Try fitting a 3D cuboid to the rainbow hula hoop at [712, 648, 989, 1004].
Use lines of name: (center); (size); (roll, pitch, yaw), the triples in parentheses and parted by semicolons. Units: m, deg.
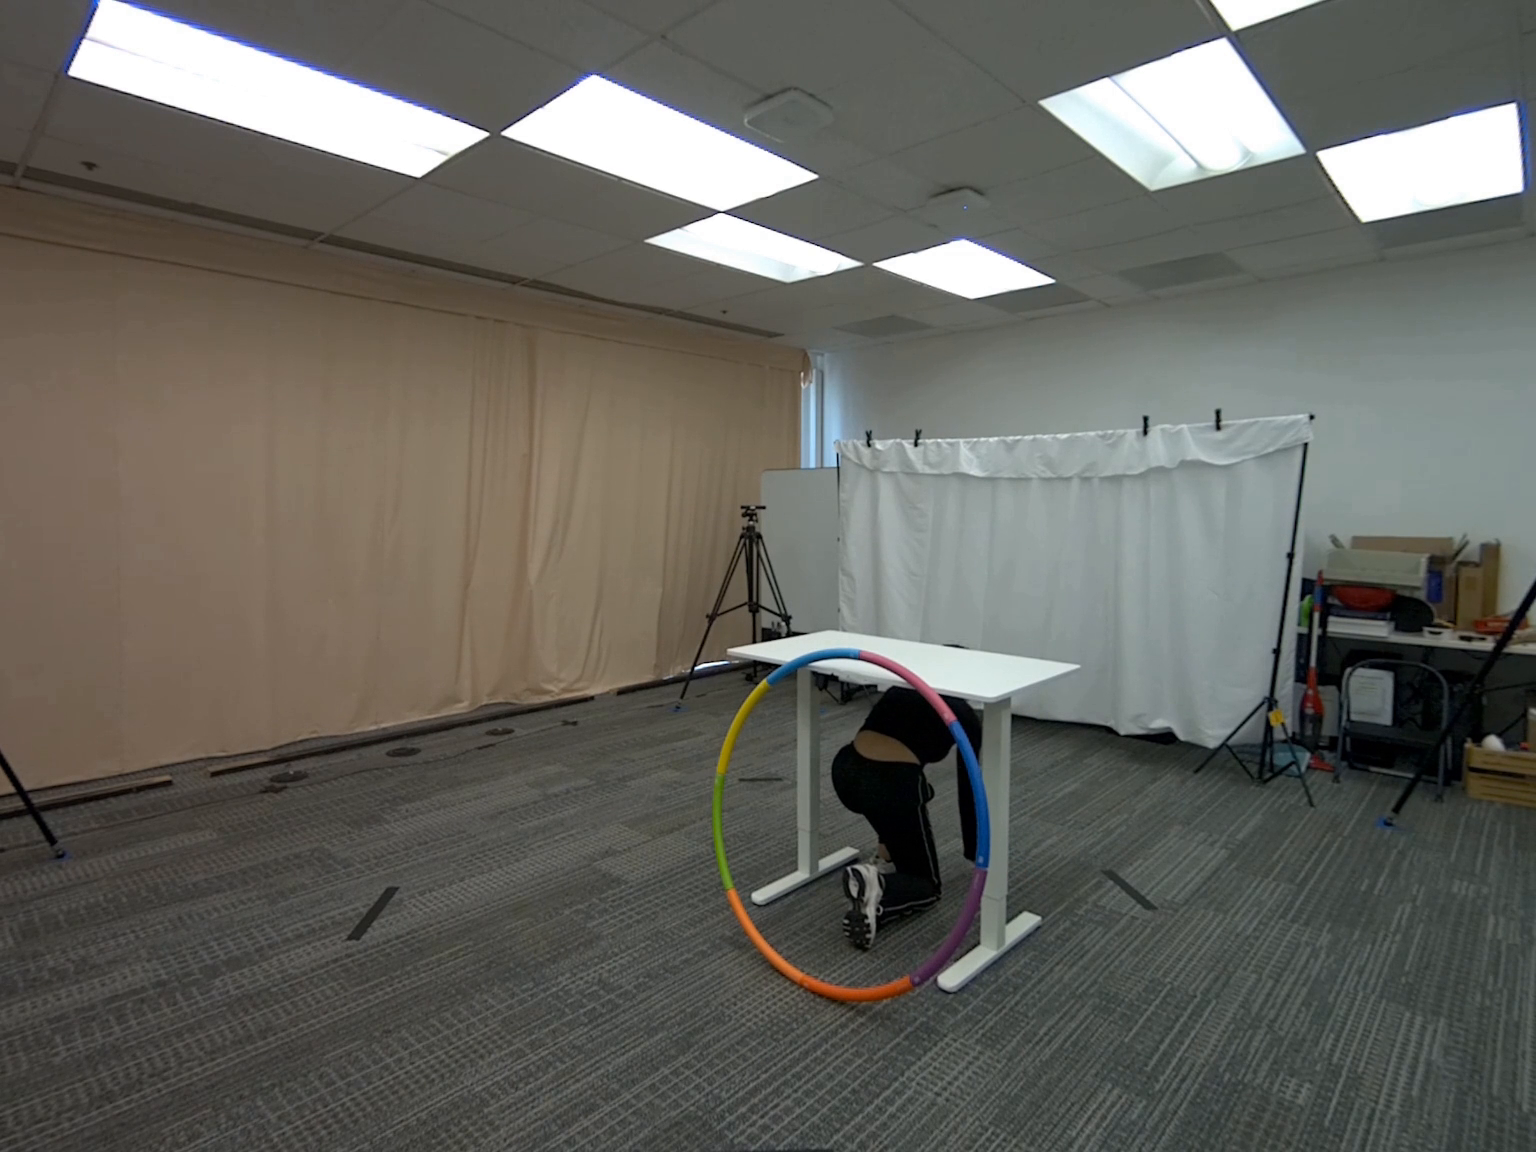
rainbow hula hoop: (0.194, 0.711, 2.499); (1.011, 0.982, 0.034); (4, -10, 43)
